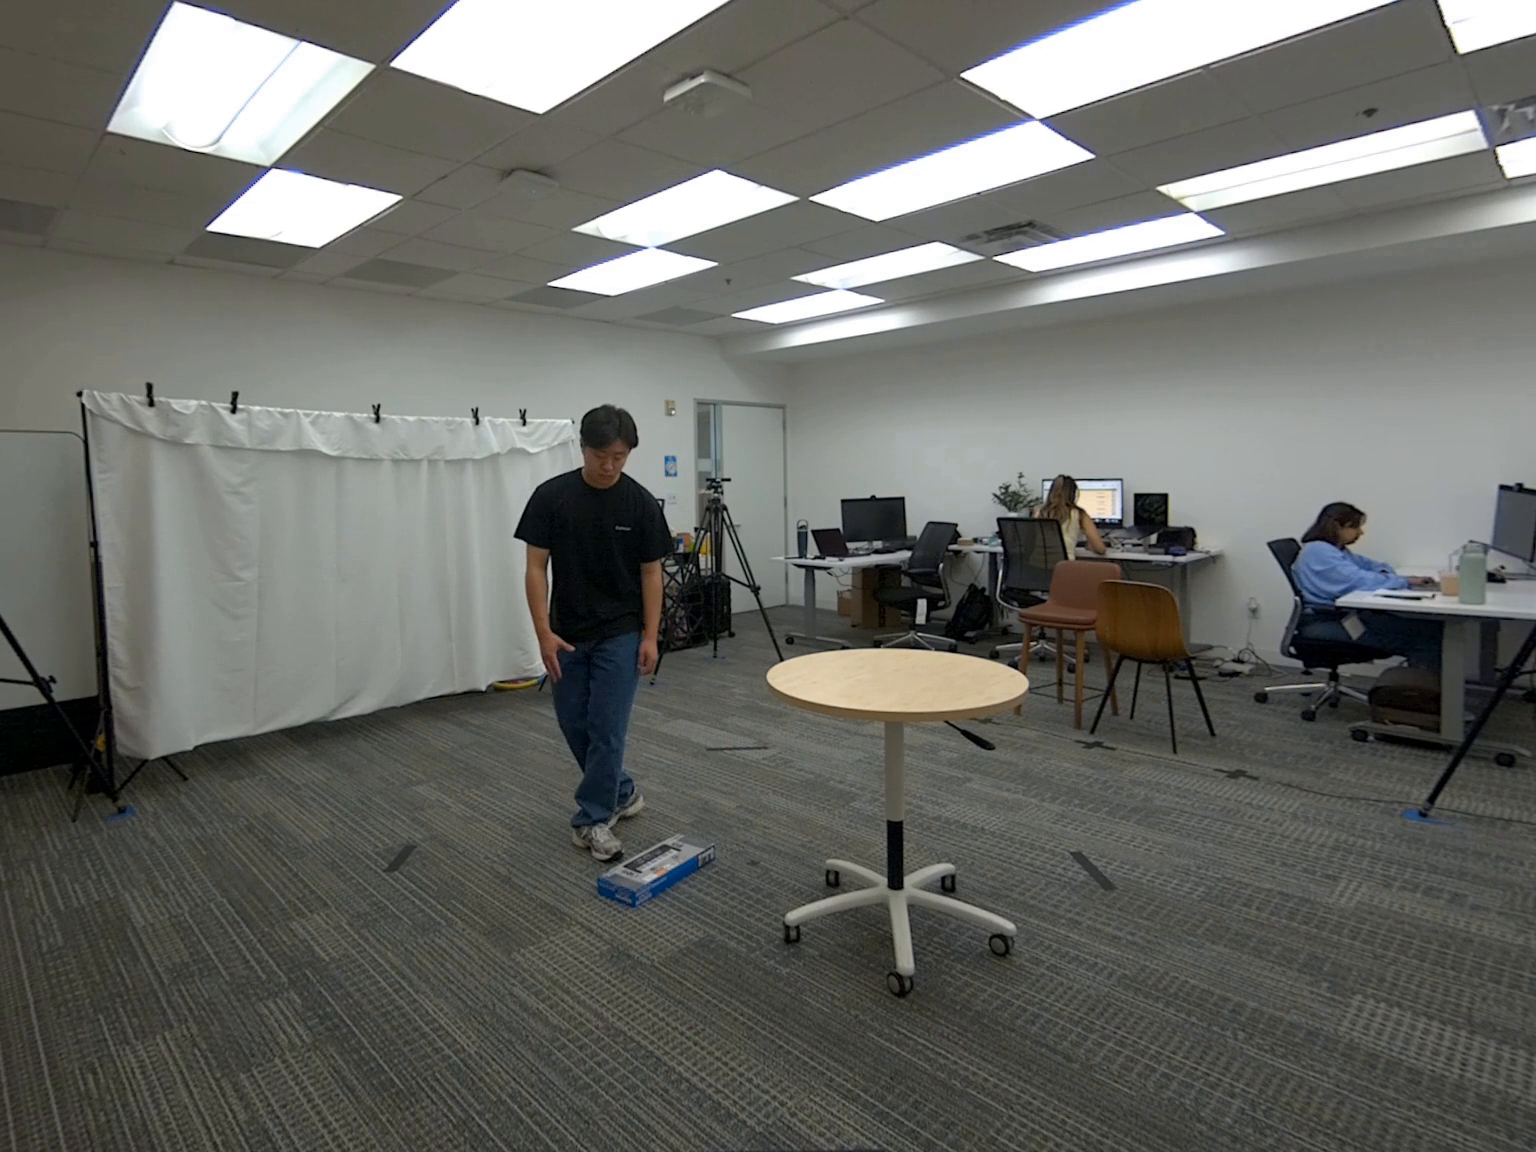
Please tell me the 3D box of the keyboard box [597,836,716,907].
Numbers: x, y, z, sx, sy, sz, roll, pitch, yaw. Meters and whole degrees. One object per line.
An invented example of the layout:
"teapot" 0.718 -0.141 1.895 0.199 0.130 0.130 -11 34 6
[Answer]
"keyboard box" -0.381 1.031 3.010 0.181 0.059 0.426 4 9 35
